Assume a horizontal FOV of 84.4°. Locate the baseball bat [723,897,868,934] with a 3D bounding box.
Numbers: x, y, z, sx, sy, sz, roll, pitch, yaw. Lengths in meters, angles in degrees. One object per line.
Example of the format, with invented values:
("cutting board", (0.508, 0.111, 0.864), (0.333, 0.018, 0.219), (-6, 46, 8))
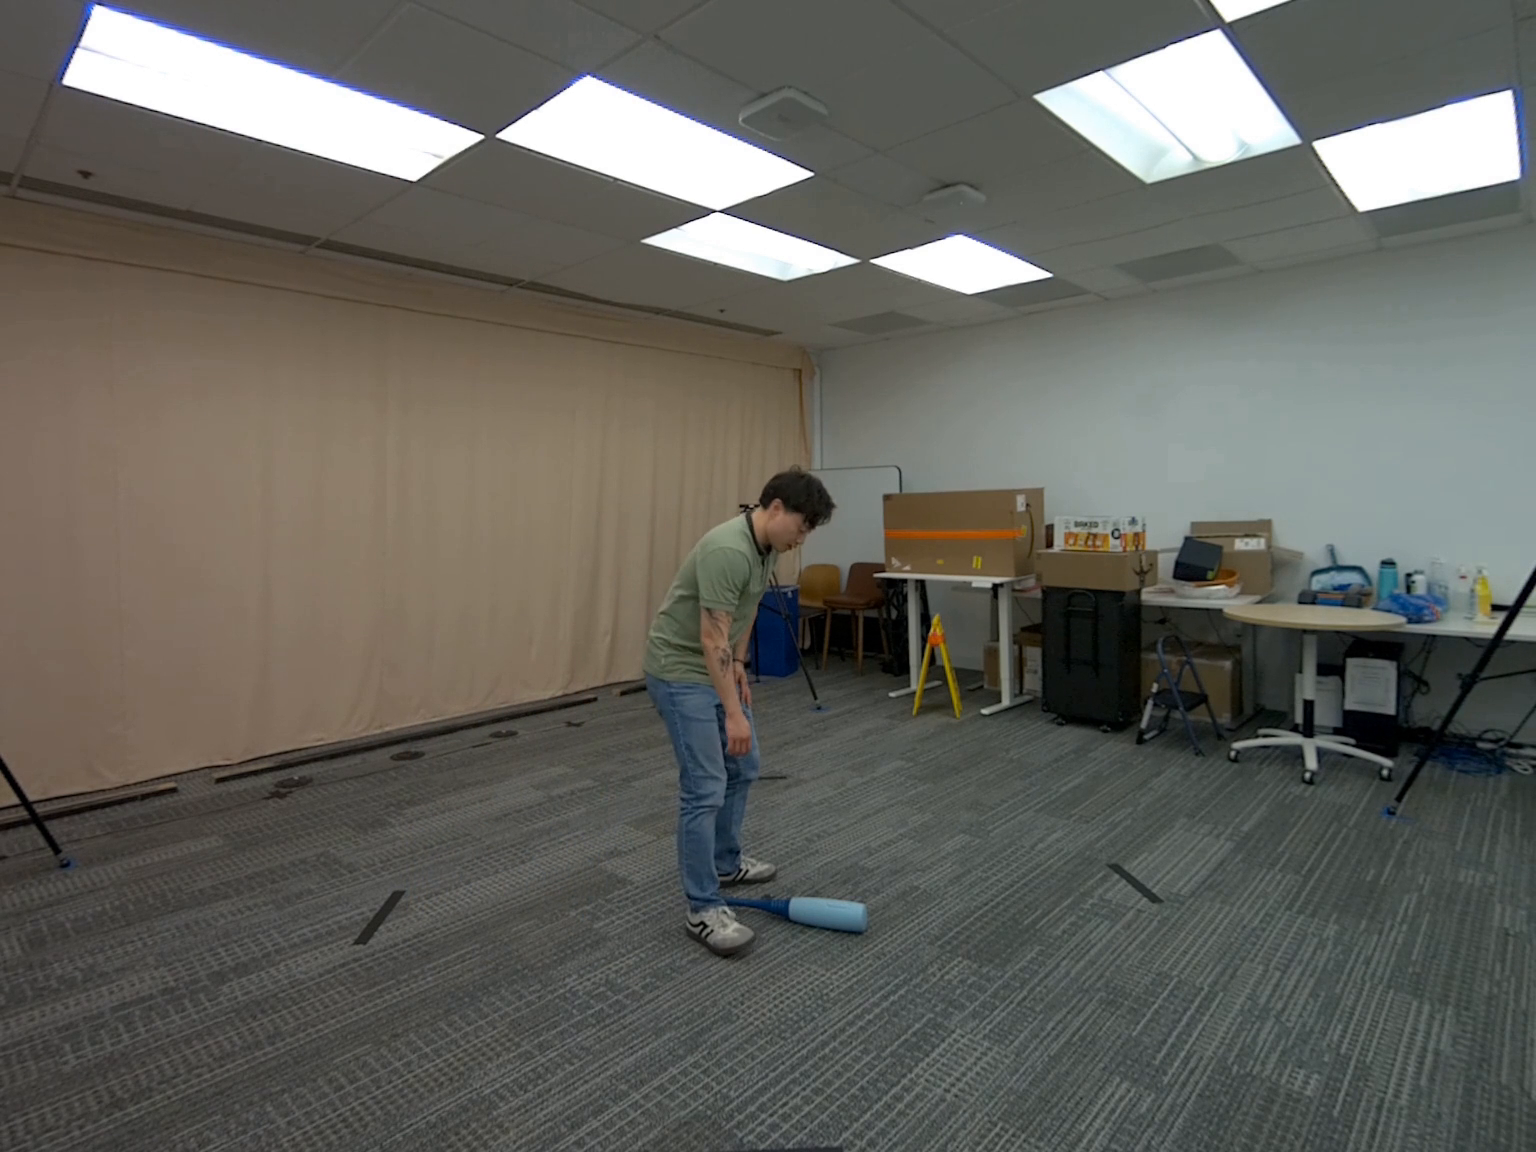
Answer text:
("baseball bat", (0.067, 1.113, 2.817), (0.554, 0.089, 0.087), (-3, 3, 20))
